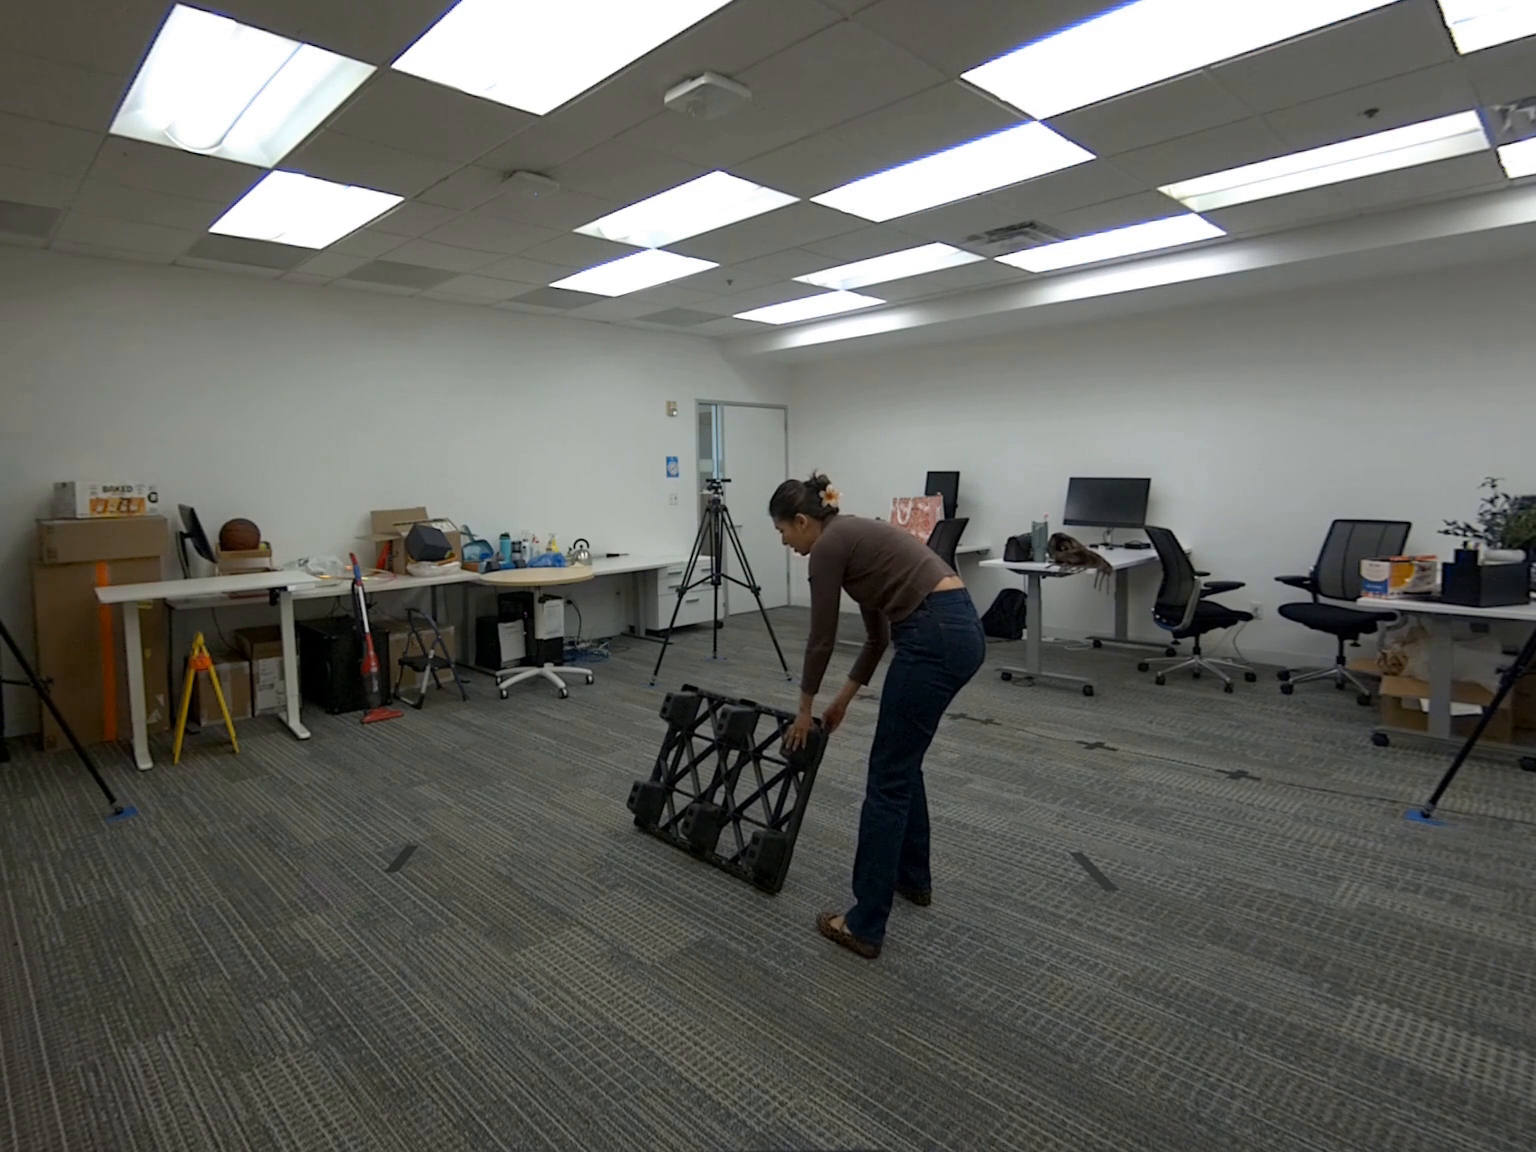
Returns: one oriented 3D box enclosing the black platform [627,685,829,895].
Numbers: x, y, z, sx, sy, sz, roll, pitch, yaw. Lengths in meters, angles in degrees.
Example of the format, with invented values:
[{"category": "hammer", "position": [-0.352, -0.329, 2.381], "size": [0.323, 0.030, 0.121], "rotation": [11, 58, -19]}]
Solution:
[{"category": "black platform", "position": [-0.189, 0.747, 3.201], "size": [0.830, 0.610, 0.138], "rotation": [5, -21, 47]}]
